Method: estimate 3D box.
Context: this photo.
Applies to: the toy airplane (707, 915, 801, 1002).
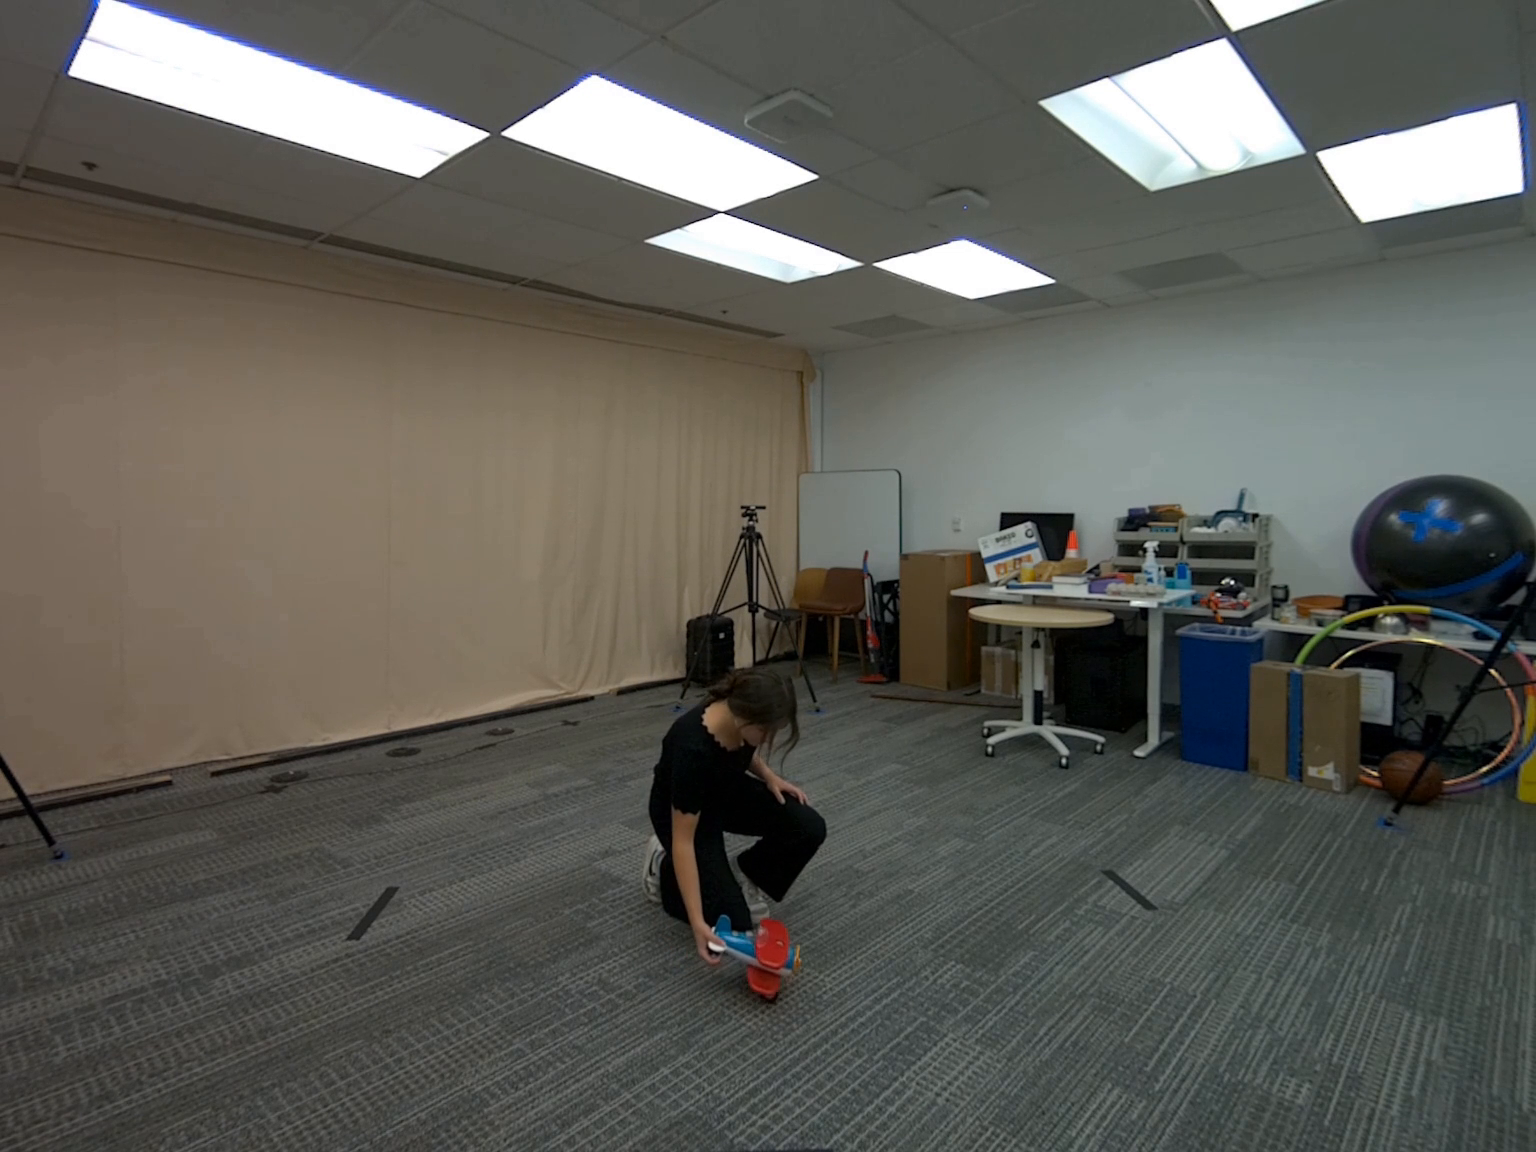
[{"bbox_3d":[-0.041,1.080,2.384,0.252,0.156,0.258,29,5,-26],"label":"toy airplane"}]
